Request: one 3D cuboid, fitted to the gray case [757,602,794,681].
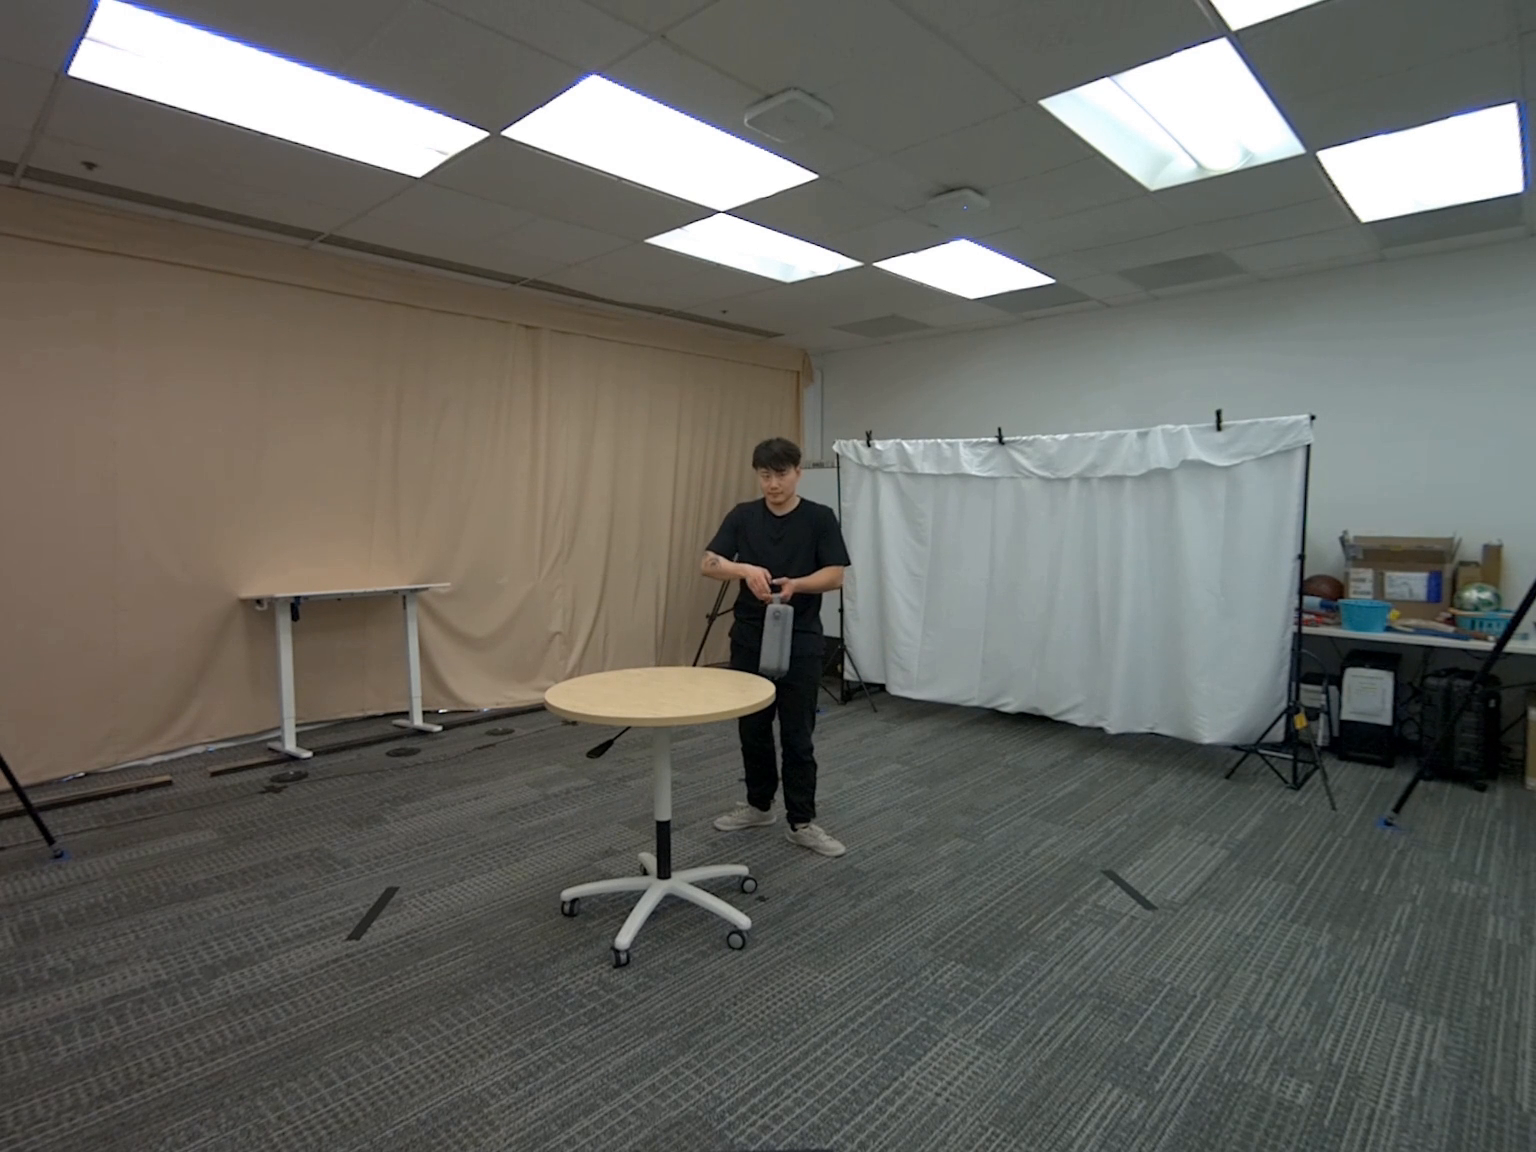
[{"bbox_3d":[0.031,0.238,3.171,0.104,0.262,0.254,3,-12,1],"label":"gray case"}]
